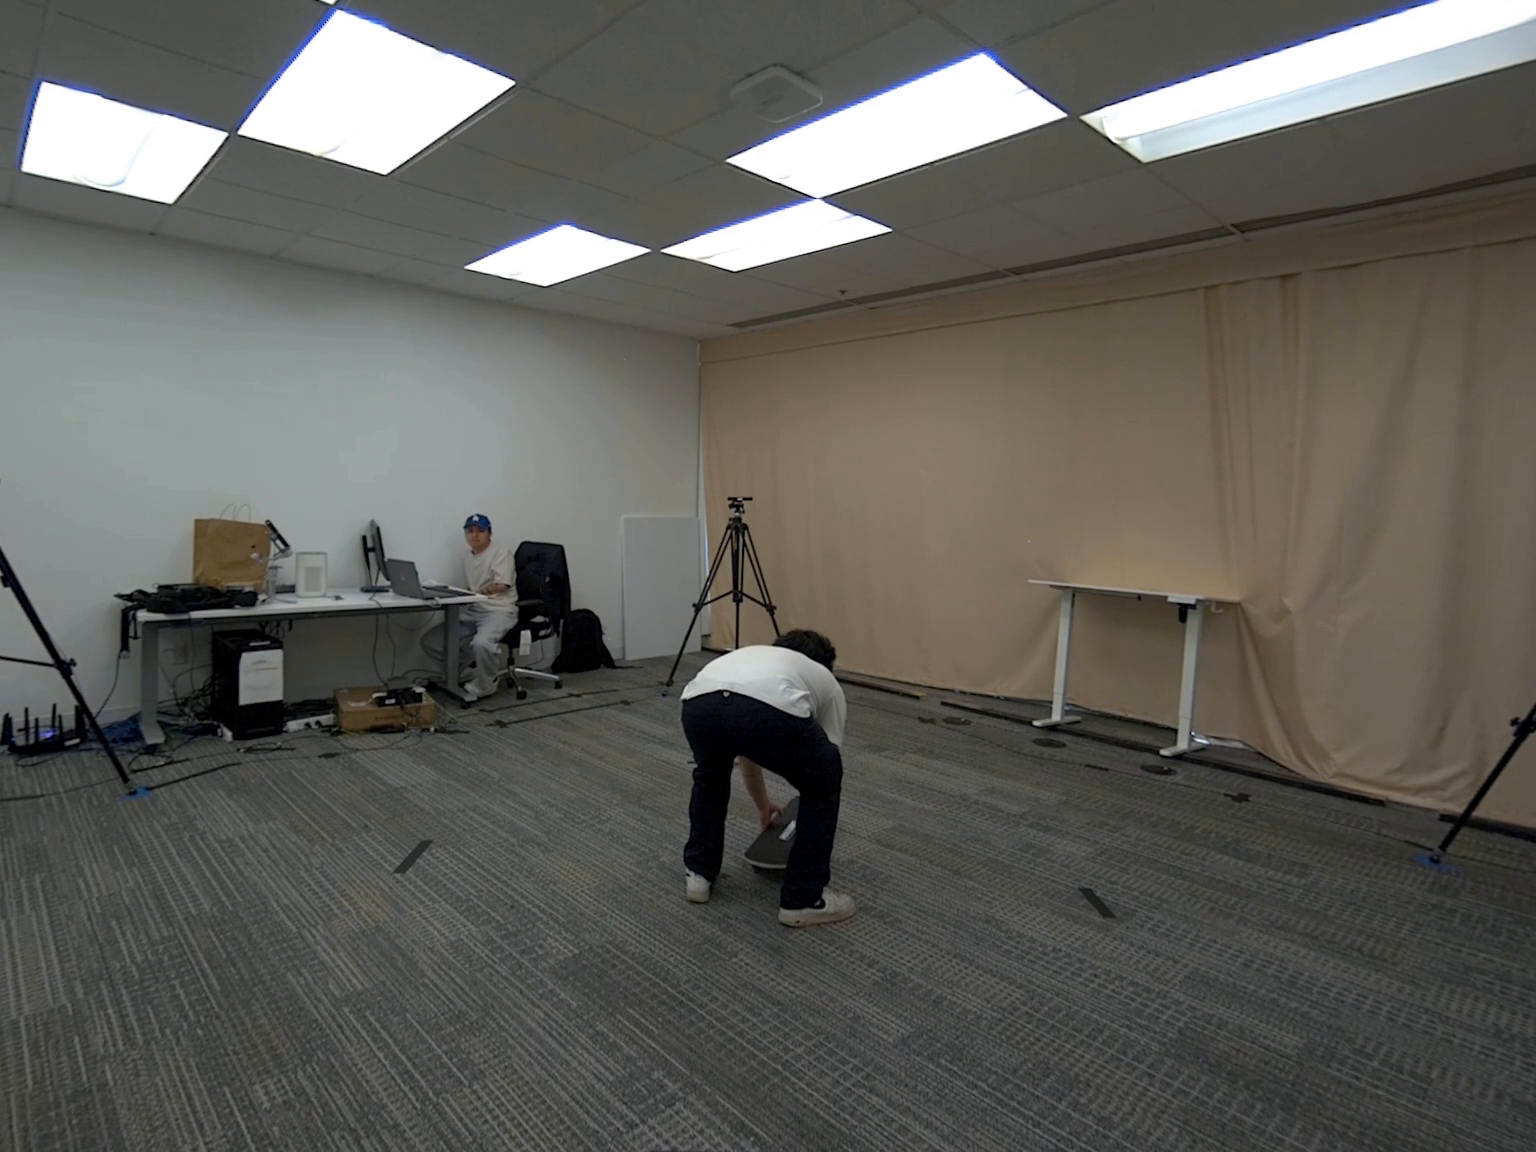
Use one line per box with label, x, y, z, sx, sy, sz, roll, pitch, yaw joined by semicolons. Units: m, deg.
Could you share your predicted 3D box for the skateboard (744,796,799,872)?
skateboard;0.079;1.031;3.320;0.196;0.110;0.776;3;4;15
